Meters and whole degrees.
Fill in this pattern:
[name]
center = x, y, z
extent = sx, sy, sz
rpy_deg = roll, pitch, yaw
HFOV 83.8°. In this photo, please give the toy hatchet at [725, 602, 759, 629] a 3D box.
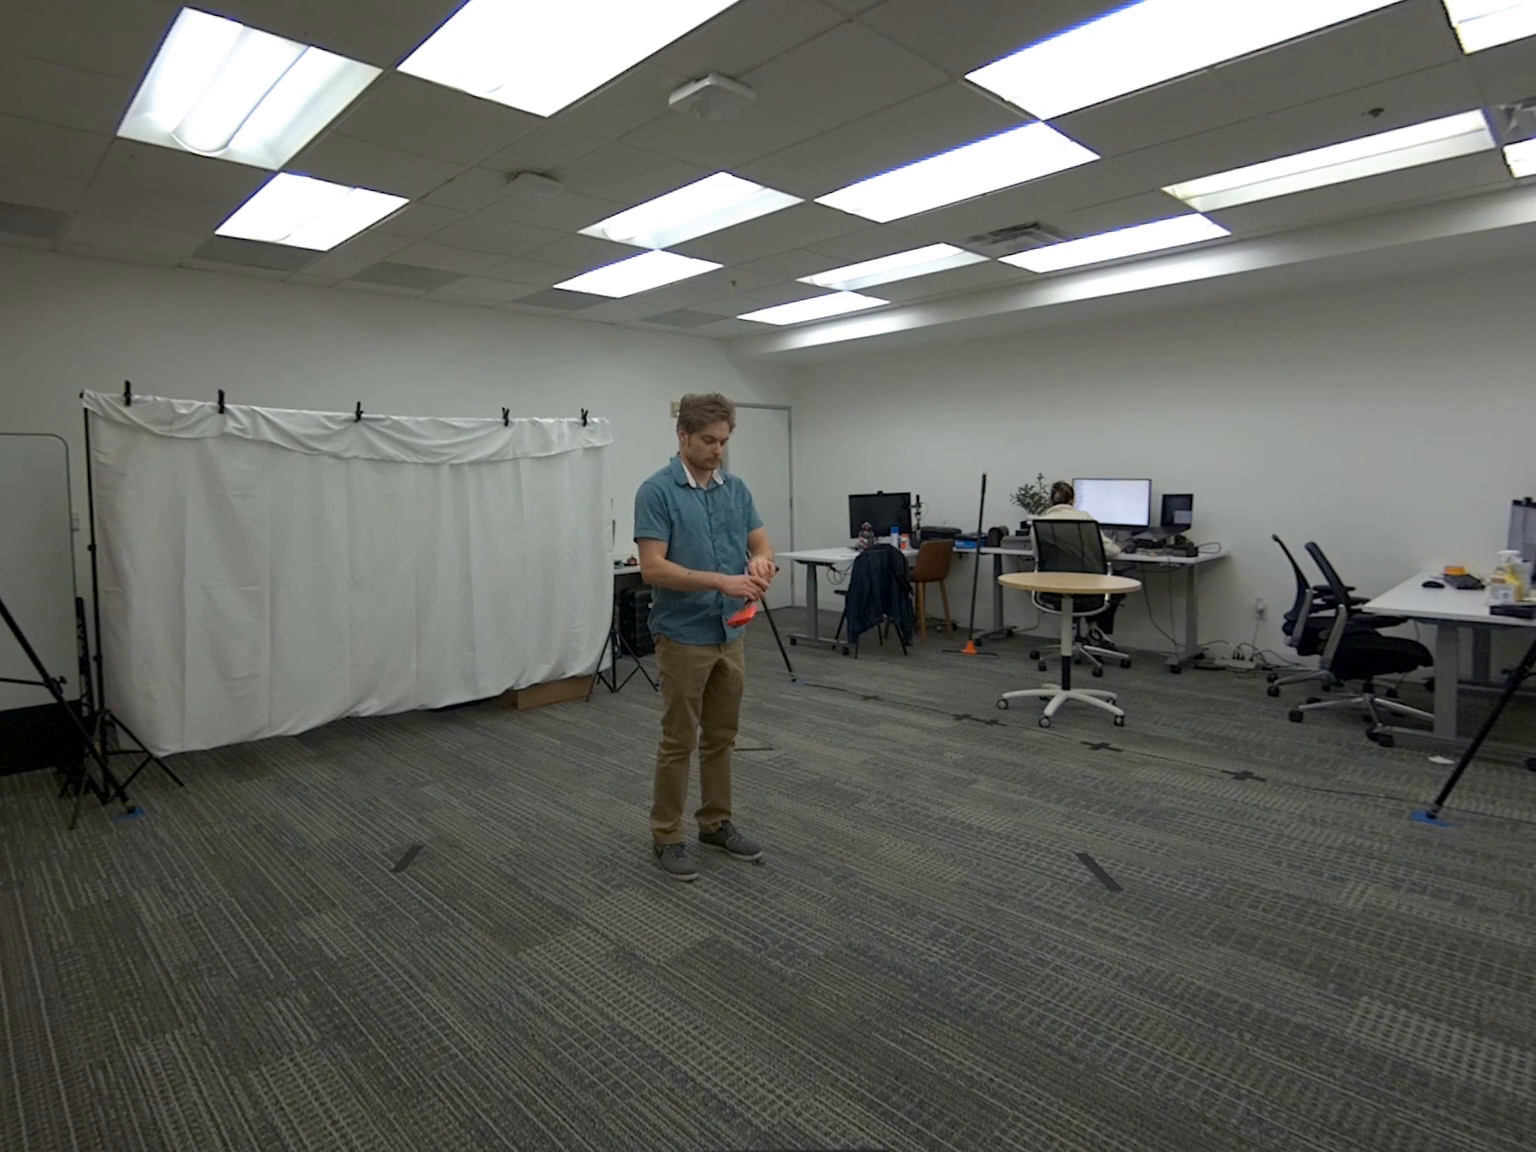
[toy hatchet]
center = -0.024, 0.069, 2.778
extent = 0.270, 0.029, 0.134
rpy_deg = -48, 19, -21
